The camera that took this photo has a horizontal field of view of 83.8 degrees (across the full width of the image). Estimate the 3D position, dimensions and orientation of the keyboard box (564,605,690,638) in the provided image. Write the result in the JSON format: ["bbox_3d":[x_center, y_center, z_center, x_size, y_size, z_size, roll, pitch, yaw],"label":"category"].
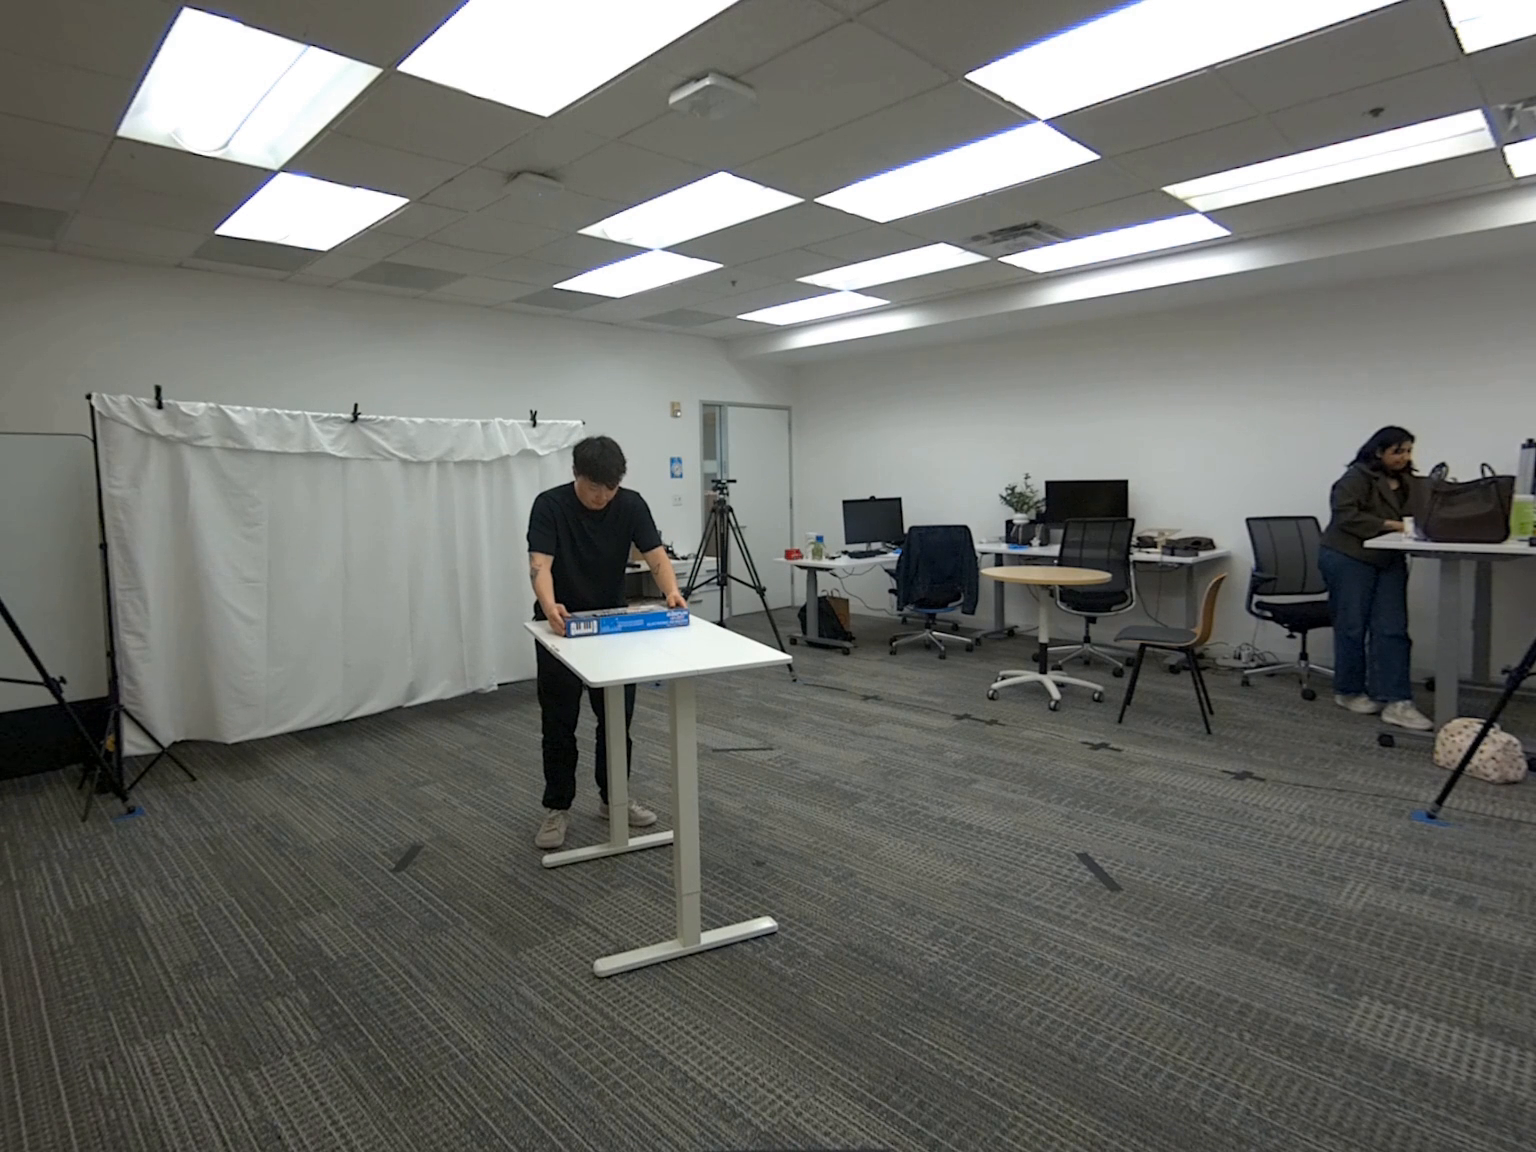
[{"bbox_3d":[-0.532,0.157,3.015,0.429,0.059,0.180,-3,7,-19],"label":"keyboard box"}]
